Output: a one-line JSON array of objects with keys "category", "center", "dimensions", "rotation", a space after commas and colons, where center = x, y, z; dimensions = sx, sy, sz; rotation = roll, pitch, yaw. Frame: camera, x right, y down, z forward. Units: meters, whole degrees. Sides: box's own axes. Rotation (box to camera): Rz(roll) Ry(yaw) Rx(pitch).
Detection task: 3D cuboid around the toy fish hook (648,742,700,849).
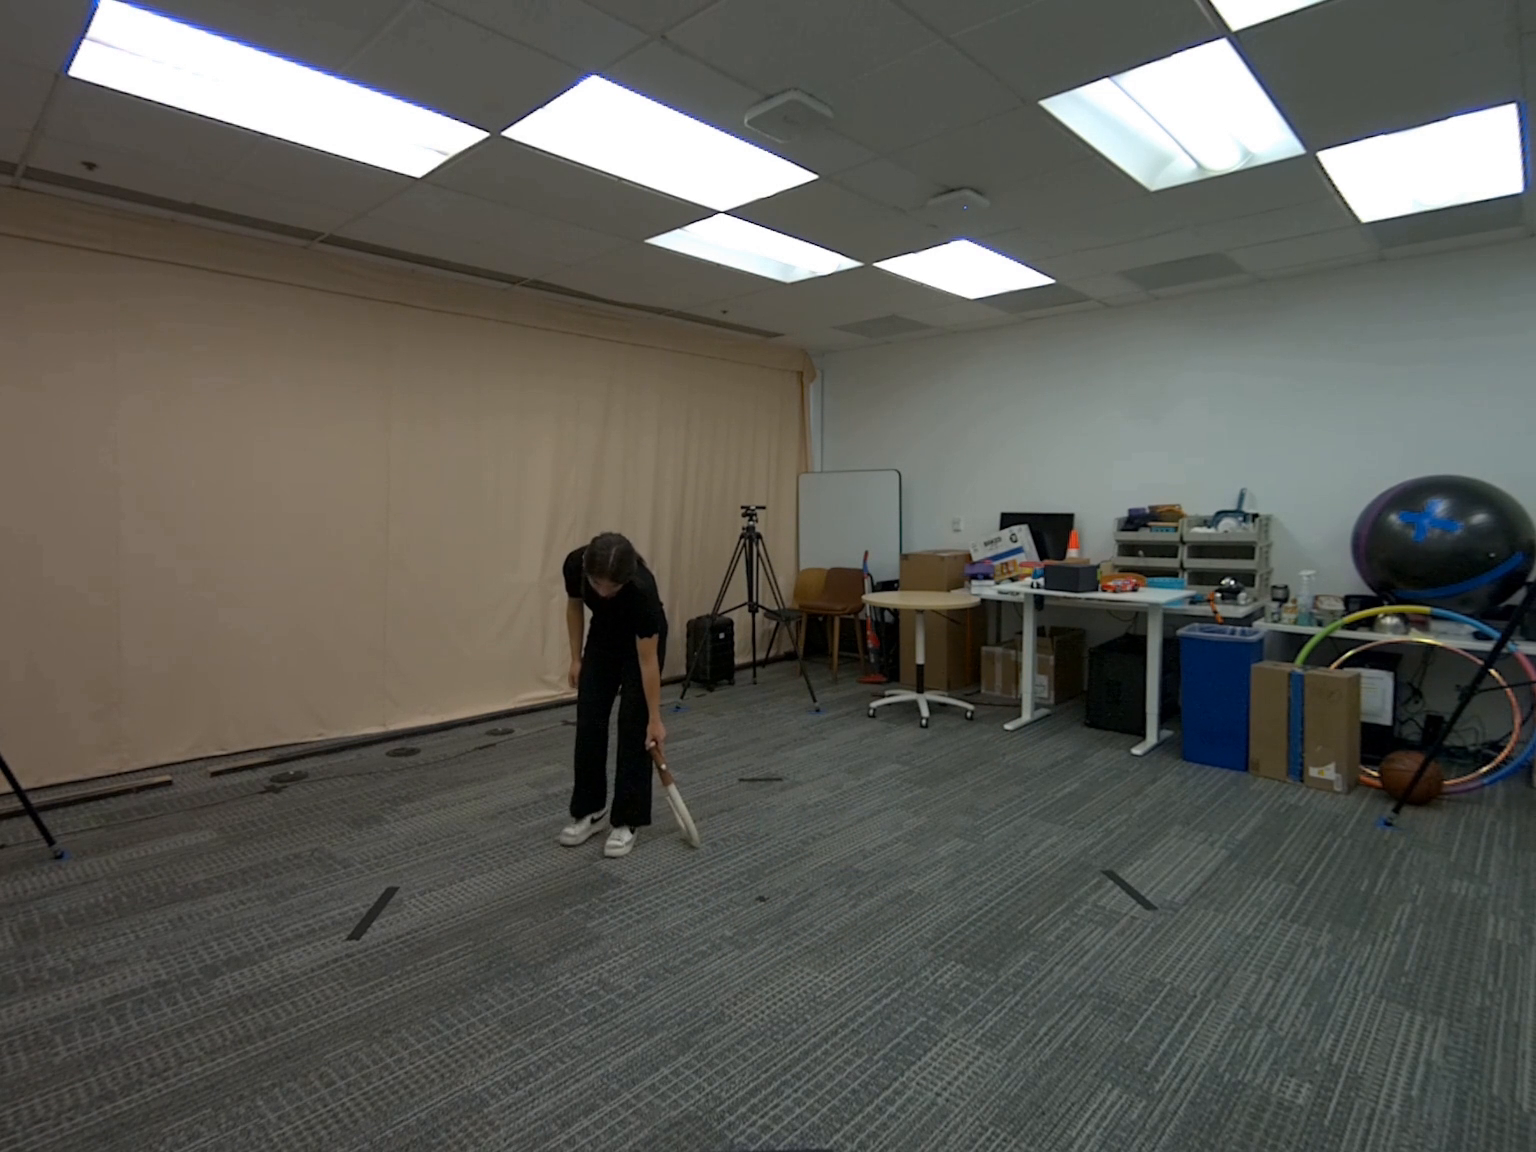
[{"category": "toy fish hook", "center": [-0.399, 0.878, 3.428], "dimensions": [0.047, 0.501, 0.230], "rotation": [-25, 12, -25]}]
